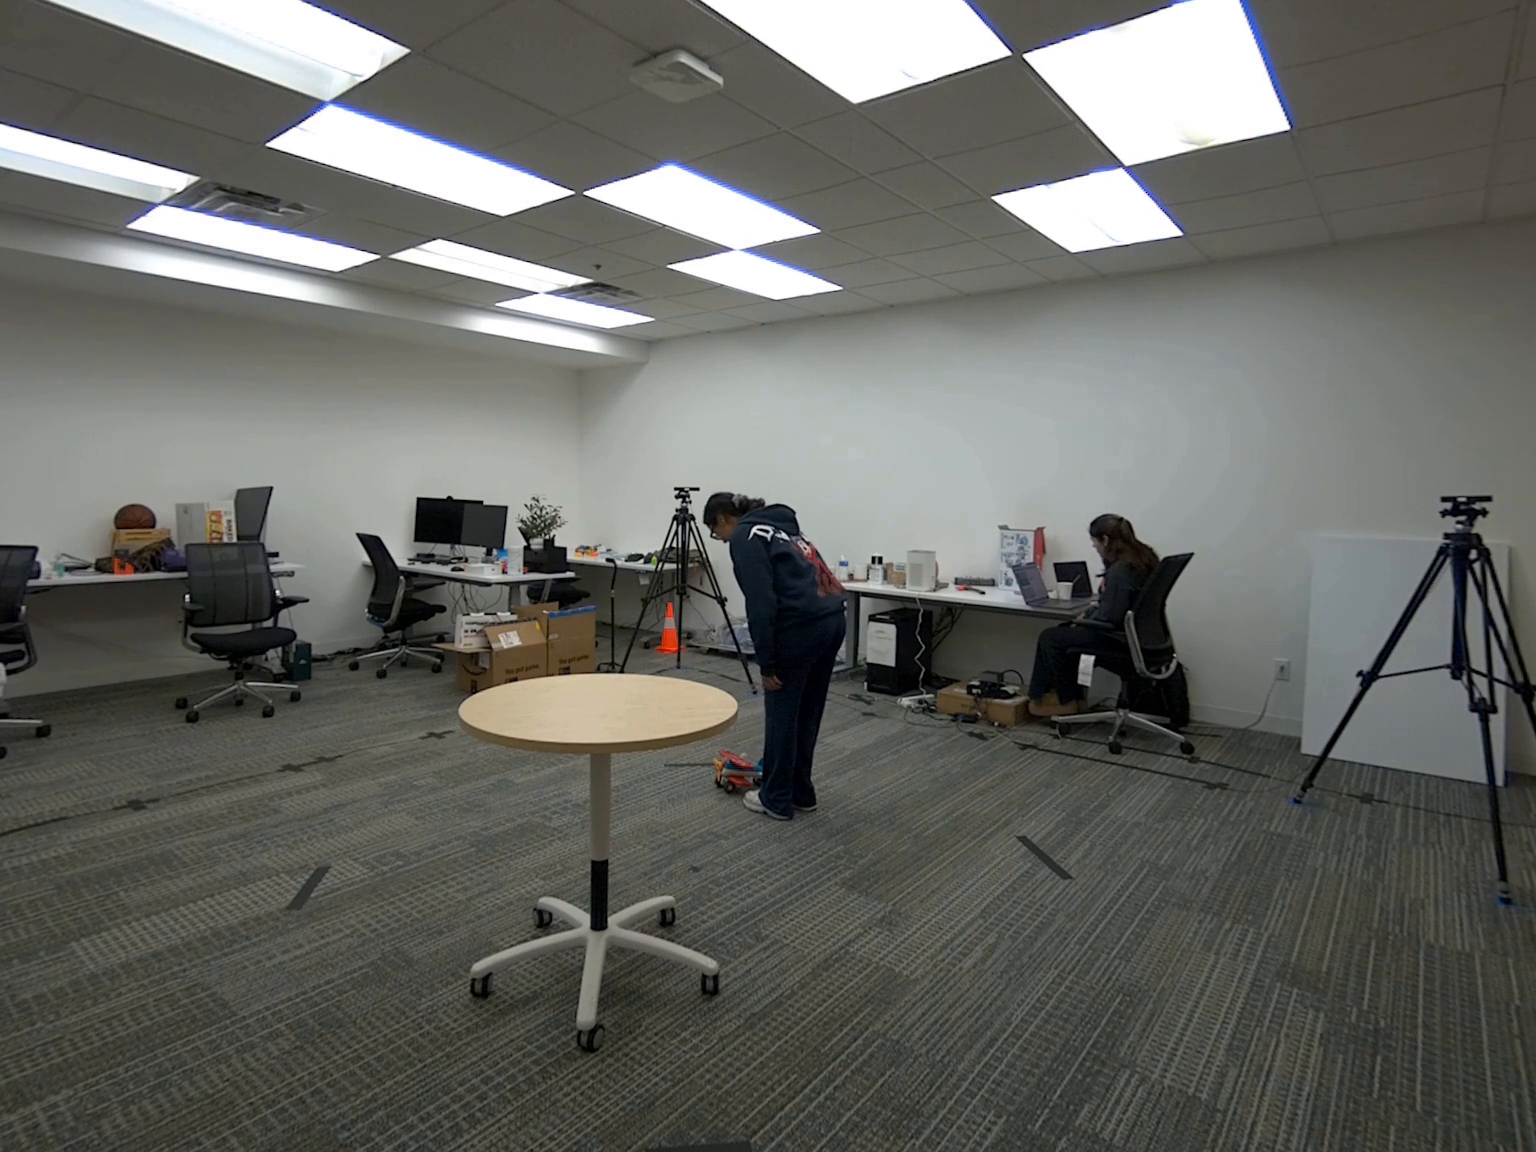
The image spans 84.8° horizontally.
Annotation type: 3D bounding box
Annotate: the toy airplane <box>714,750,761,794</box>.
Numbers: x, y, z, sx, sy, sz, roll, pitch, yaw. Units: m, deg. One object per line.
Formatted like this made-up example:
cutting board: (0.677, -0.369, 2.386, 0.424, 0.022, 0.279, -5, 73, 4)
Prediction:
toy airplane: (-0.138, 0.909, 3.991, 0.259, 0.156, 0.252, 4, 7, 33)
